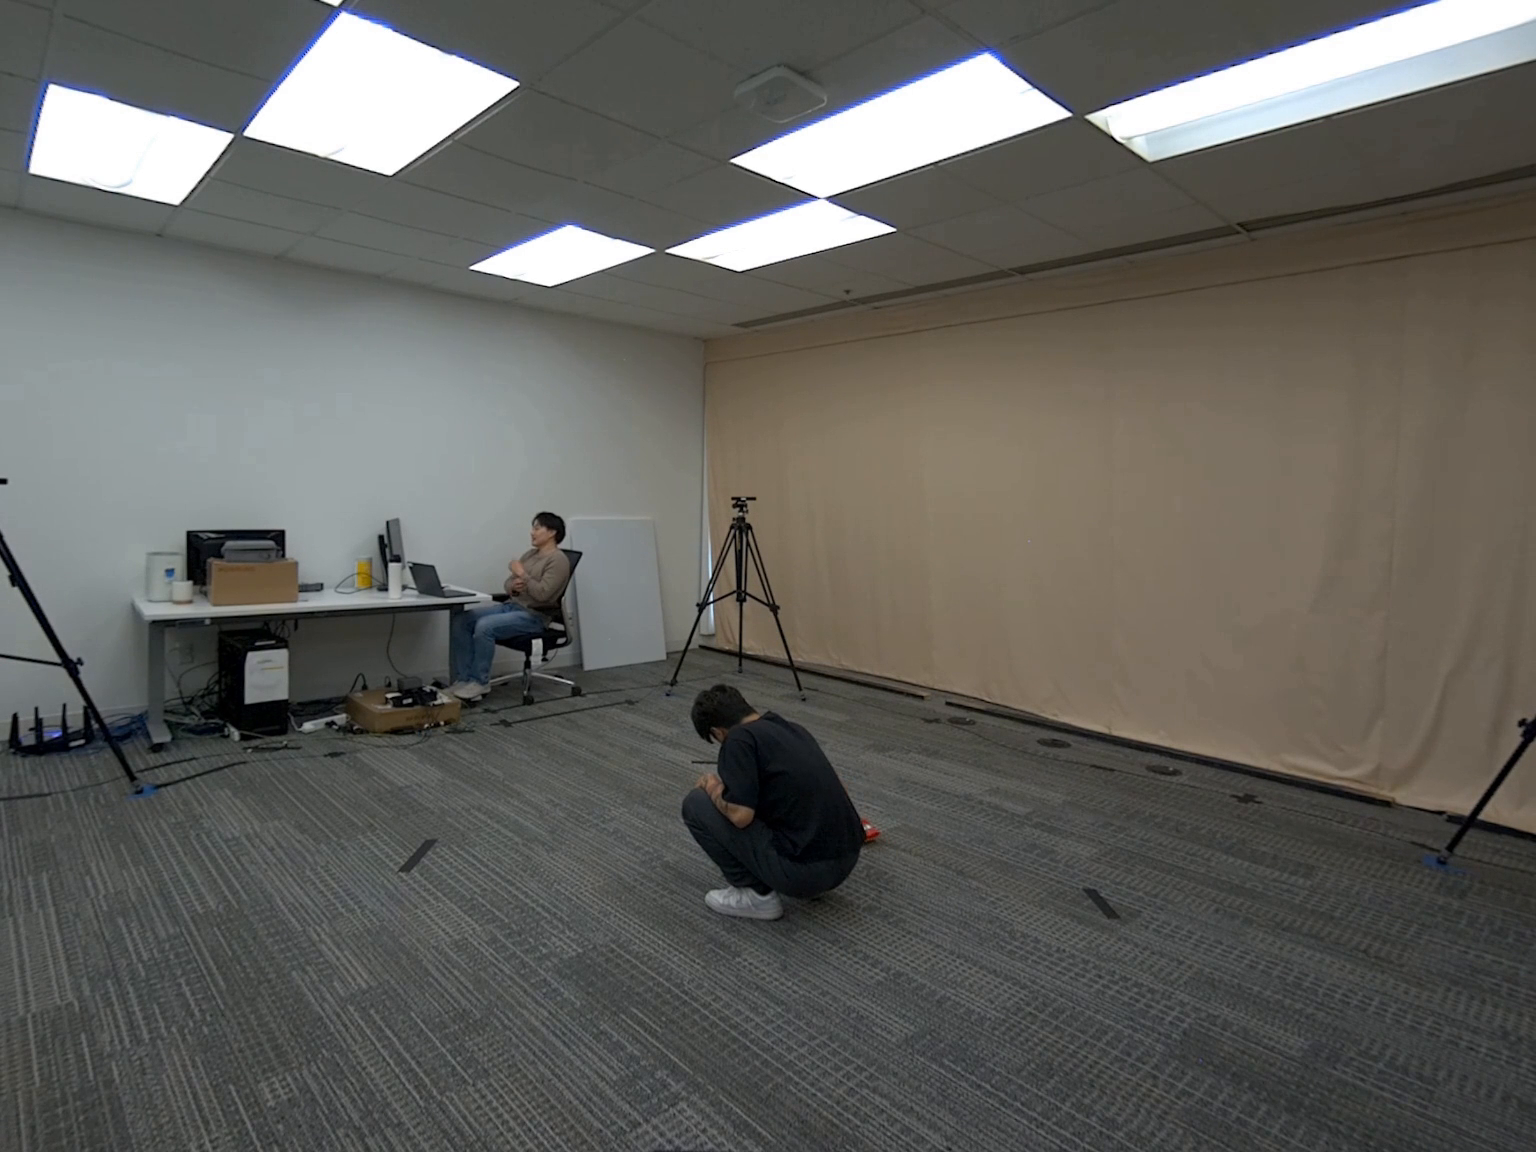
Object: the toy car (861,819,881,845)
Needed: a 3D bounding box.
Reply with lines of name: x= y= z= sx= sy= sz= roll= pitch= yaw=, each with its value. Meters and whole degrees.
toy car: x=0.349 y=1.052 z=3.495 sx=0.127 sy=0.083 sz=0.259 roll=-1 pitch=-6 yaw=-38
